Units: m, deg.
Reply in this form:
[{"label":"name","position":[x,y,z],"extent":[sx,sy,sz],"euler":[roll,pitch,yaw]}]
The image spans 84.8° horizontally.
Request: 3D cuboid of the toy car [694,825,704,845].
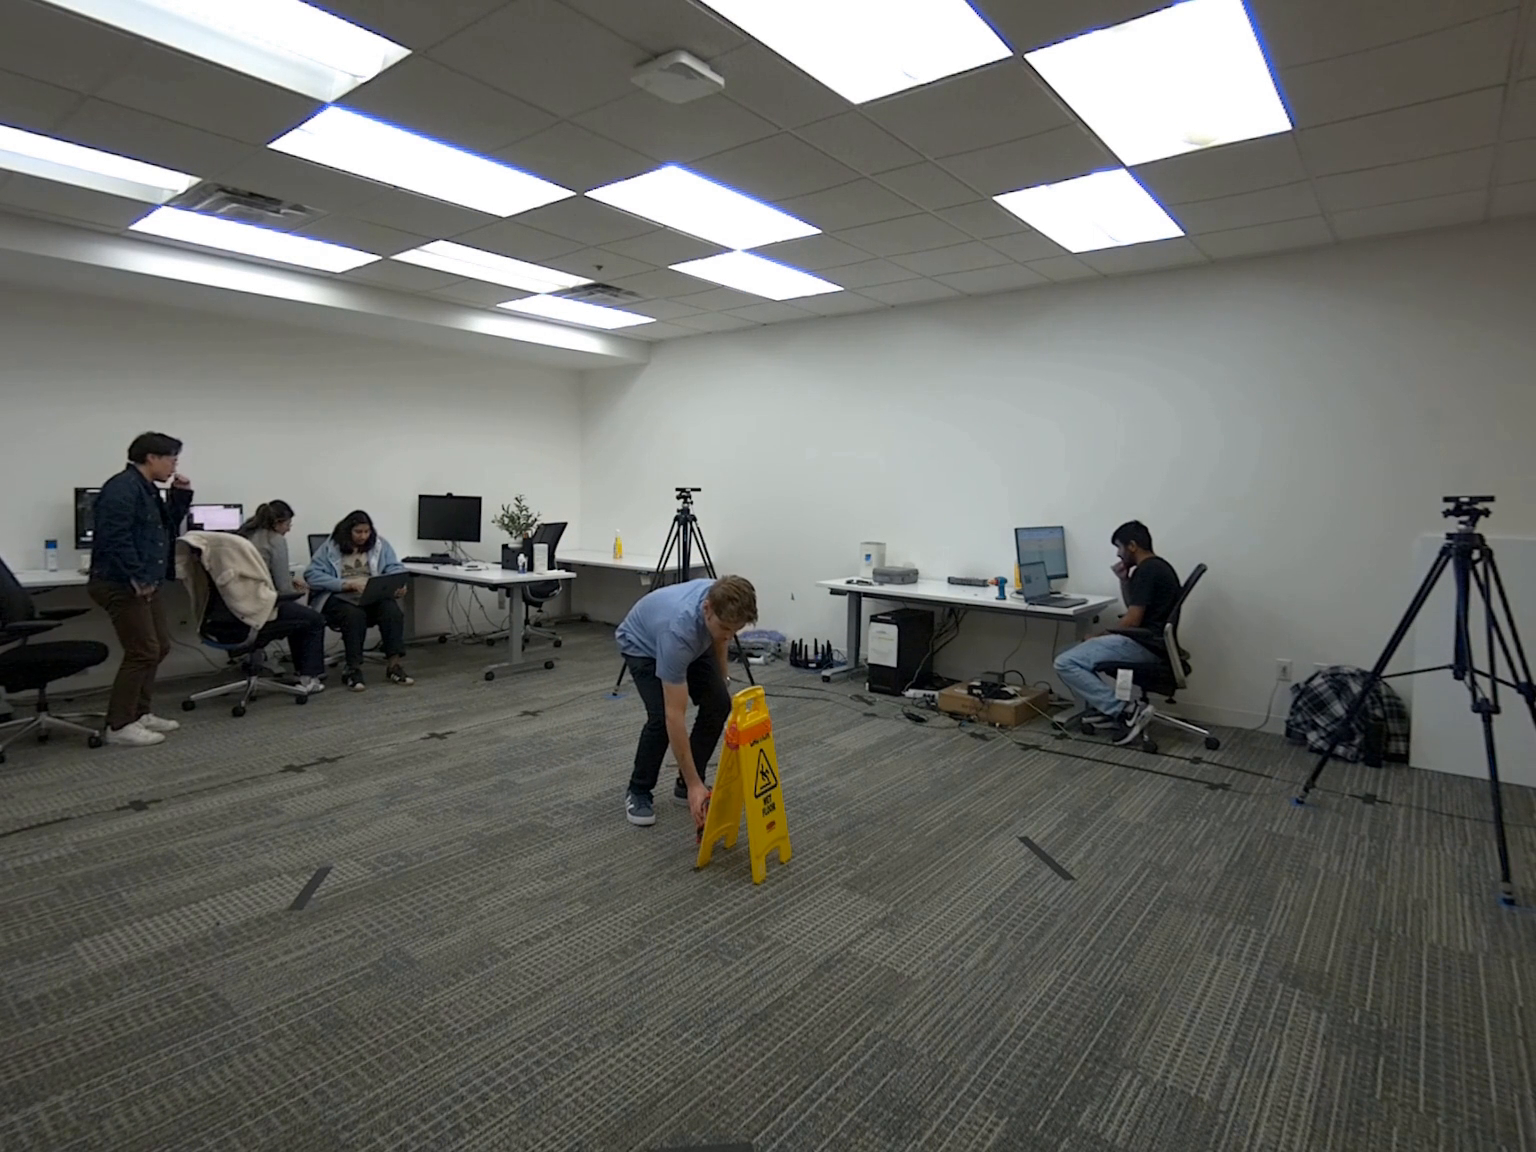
[{"label":"toy car","position":[-0.192,0.907,3.261],"extent":[0.085,0.252,0.128],"euler":[34,26,15]}]
